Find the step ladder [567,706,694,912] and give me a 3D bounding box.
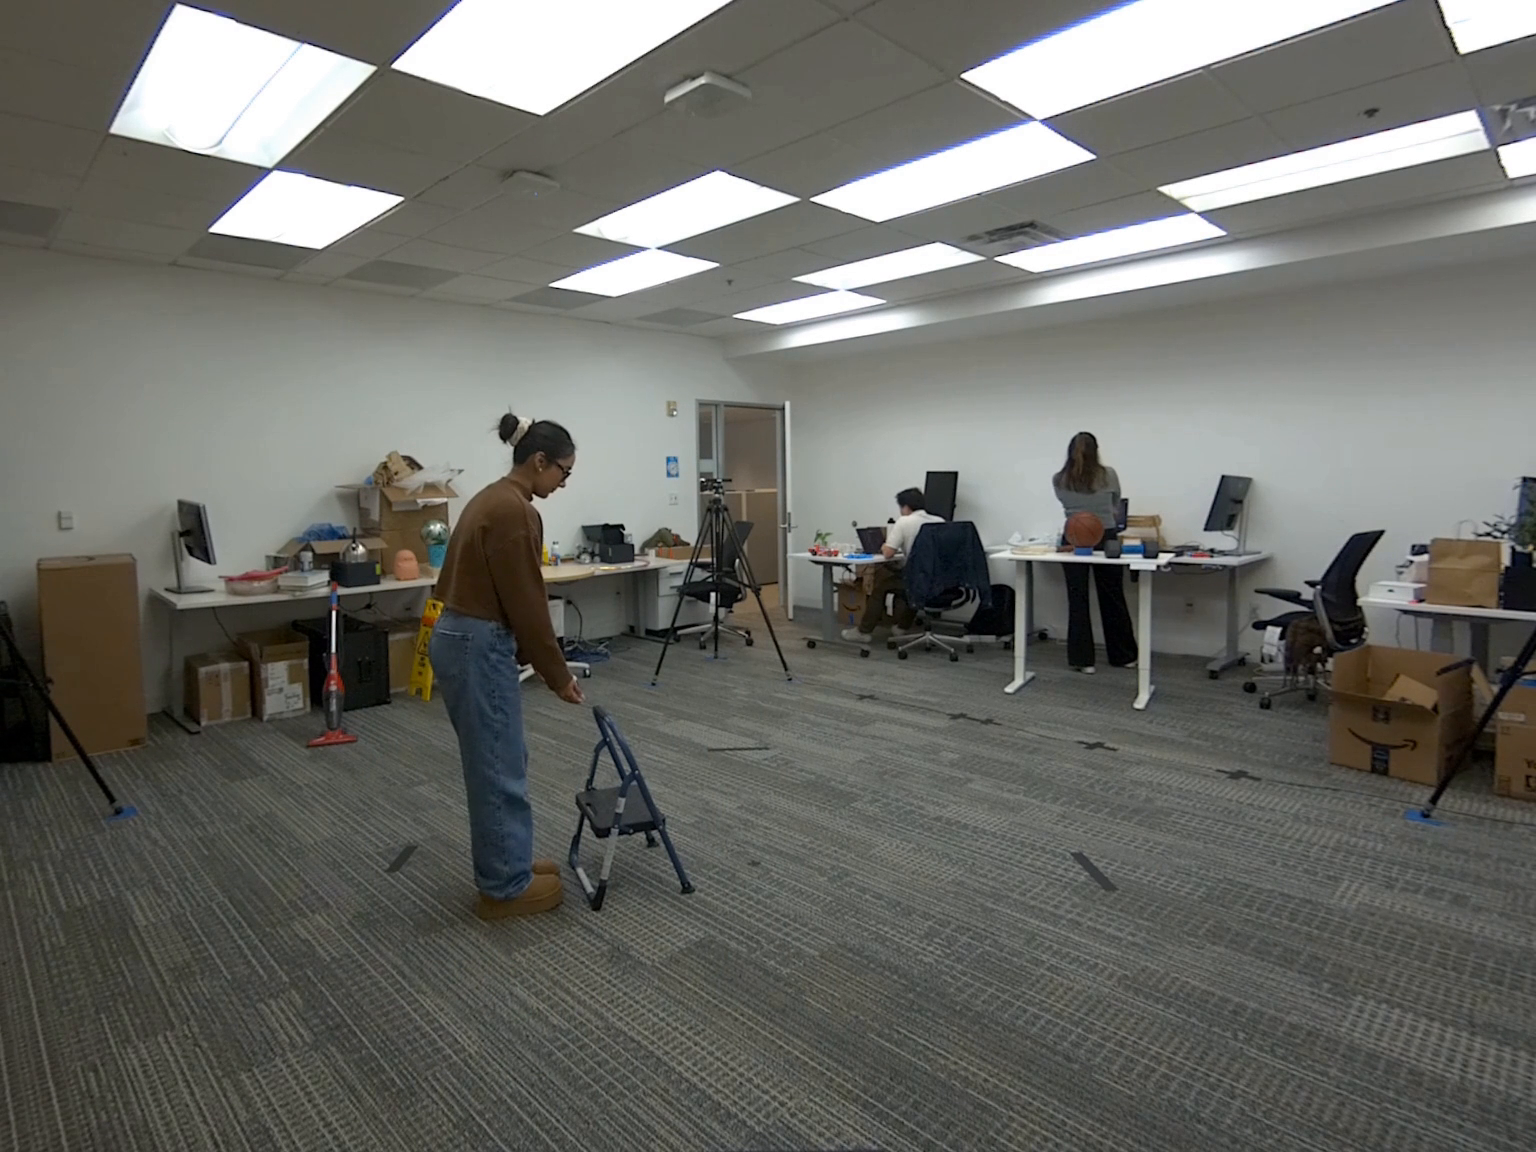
[{"bbox_3d":[-0.497,0.759,3.014,0.342,0.604,0.441,-3,5,-25],"label":"step ladder"}]
